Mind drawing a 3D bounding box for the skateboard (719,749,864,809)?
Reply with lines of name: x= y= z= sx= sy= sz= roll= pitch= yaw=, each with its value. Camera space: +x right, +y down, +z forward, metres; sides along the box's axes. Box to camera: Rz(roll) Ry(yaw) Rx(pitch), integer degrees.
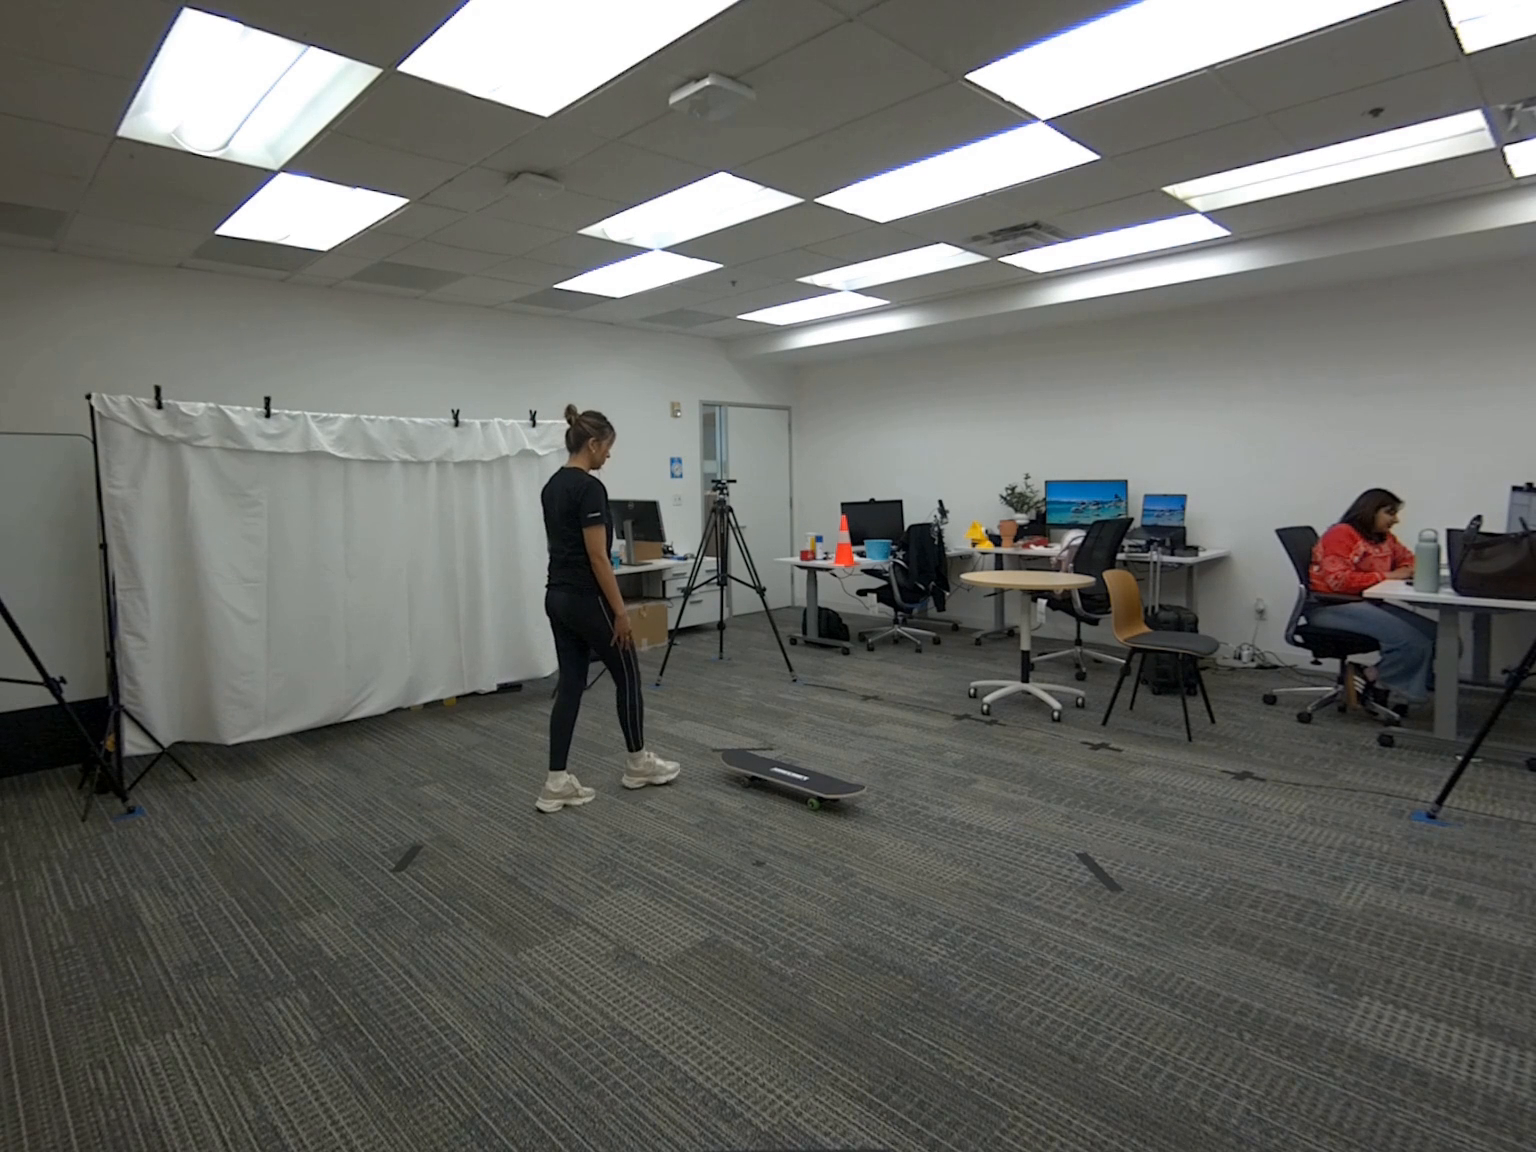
skateboard: x=0.104 y=0.914 z=3.797 sx=0.810 sy=0.110 sz=0.188 roll=5 pitch=9 yaw=43
